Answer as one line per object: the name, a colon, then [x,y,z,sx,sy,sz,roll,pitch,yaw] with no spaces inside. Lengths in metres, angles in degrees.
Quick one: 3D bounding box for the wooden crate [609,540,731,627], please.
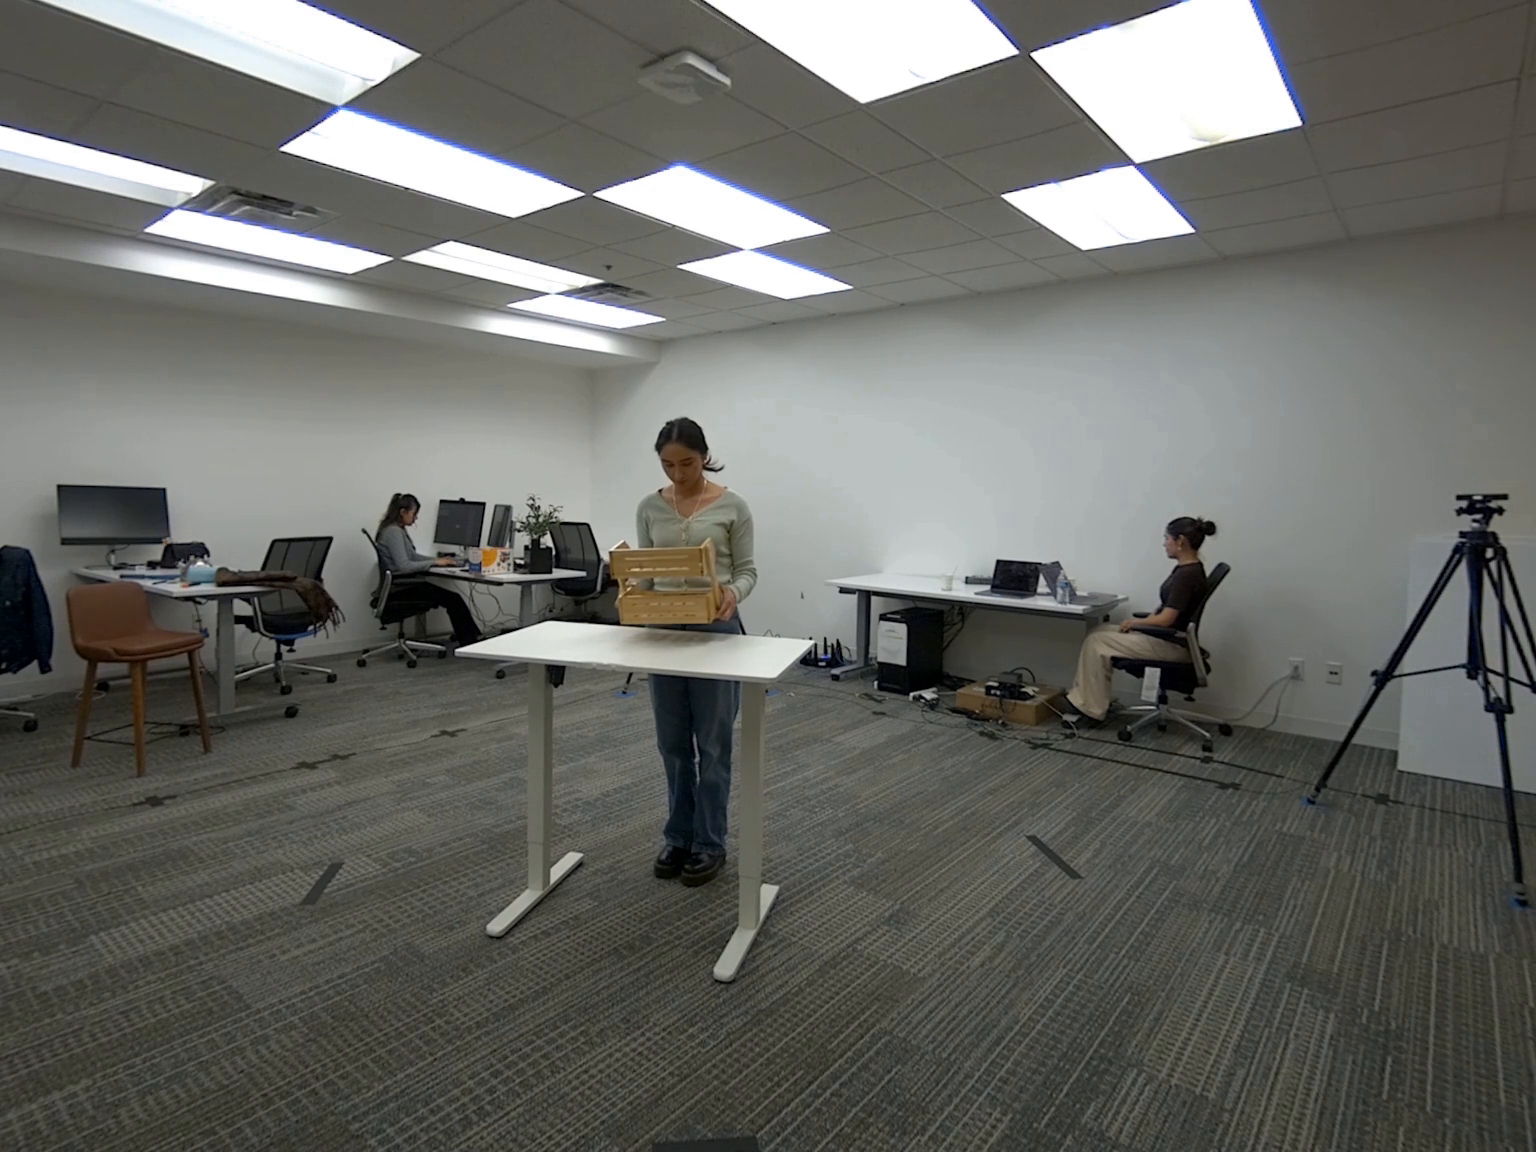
wooden crate: [-0.340,0.001,2.815,0.328,0.270,0.302,-2,12,9]
